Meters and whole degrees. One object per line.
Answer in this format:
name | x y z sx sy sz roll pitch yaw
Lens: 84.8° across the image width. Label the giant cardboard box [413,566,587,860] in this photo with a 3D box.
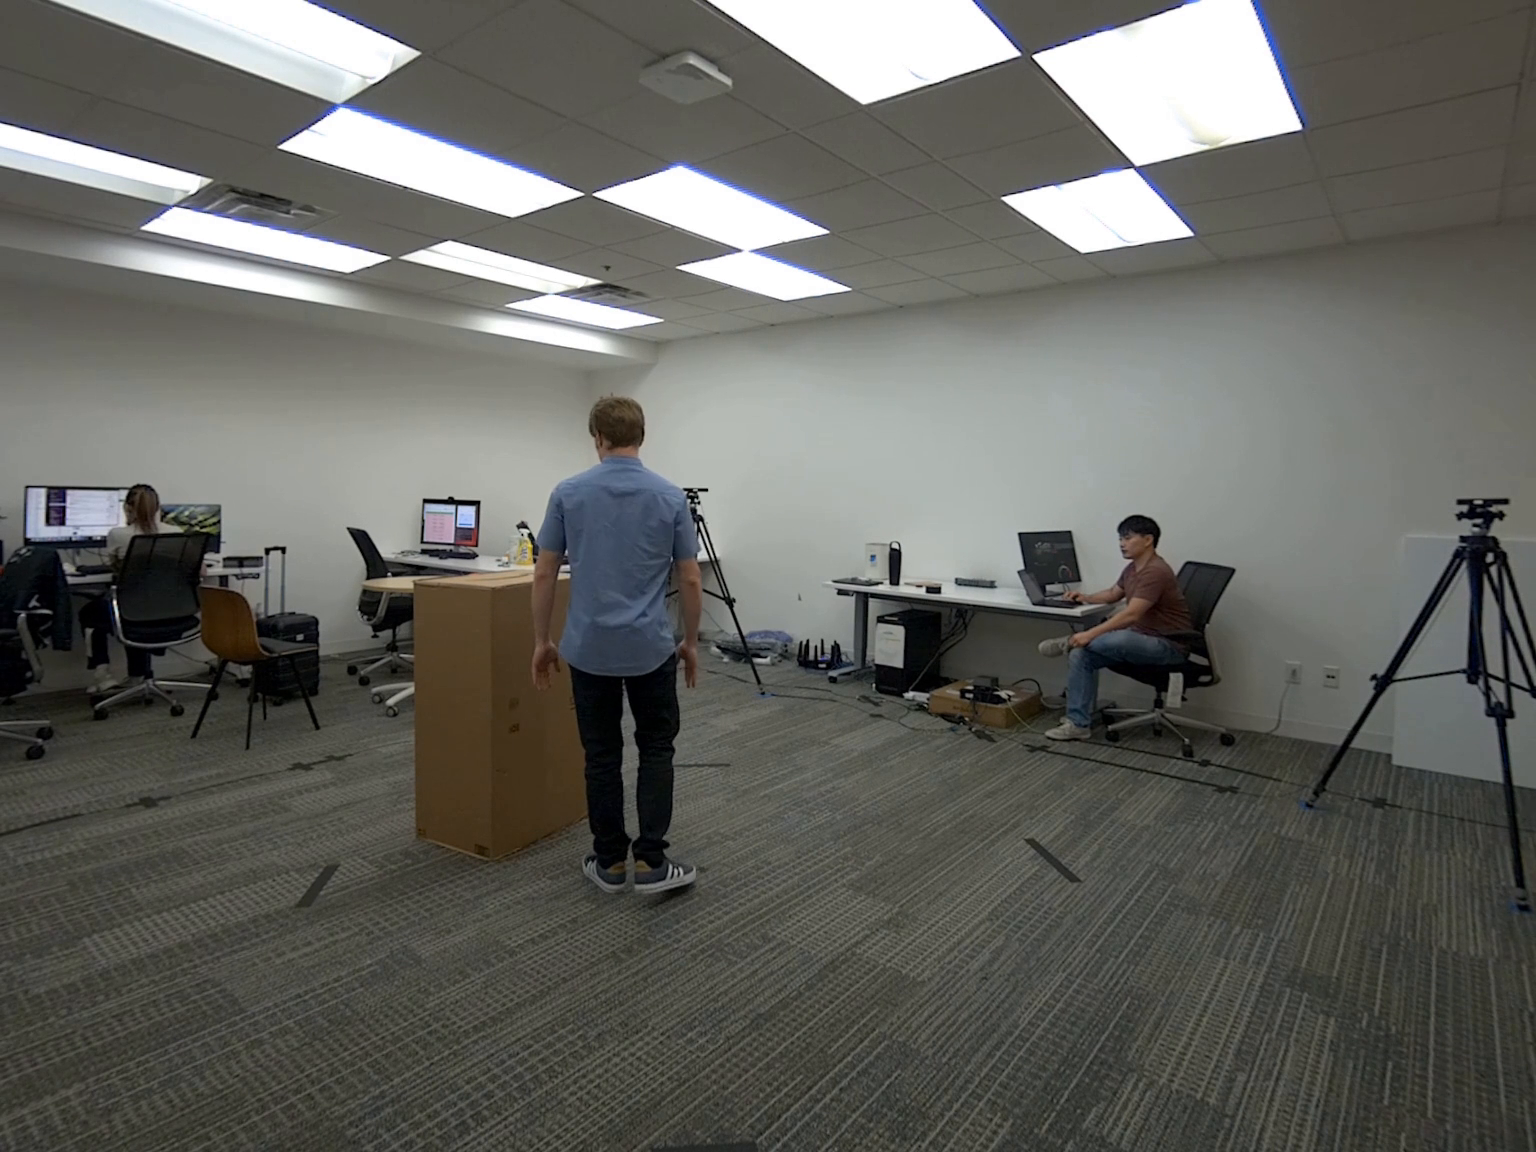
giant cardboard box | -1.083 0.513 3.456 0.439 1.023 0.563 3 4 29
